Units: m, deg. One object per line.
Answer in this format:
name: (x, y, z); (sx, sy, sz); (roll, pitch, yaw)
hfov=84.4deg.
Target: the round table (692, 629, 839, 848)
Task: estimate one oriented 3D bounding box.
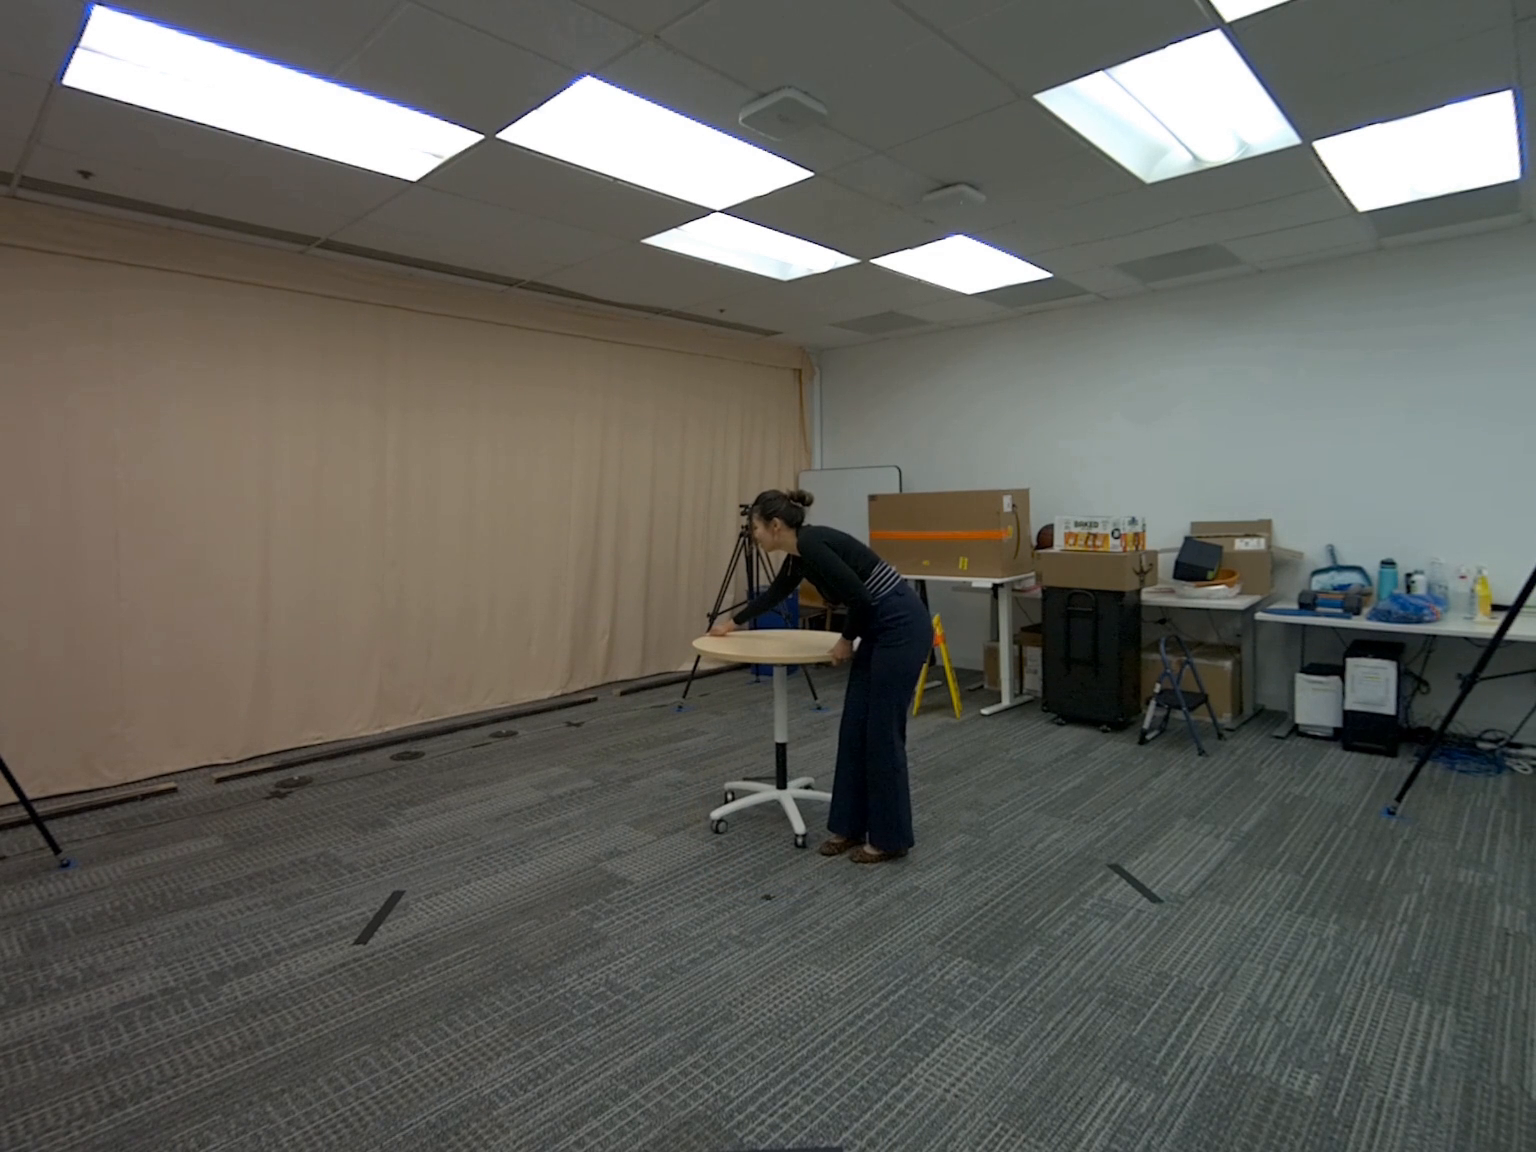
round table: (0.052, 0.682, 3.698); (0.763, 0.792, 0.766); (-1, 3, -2)
